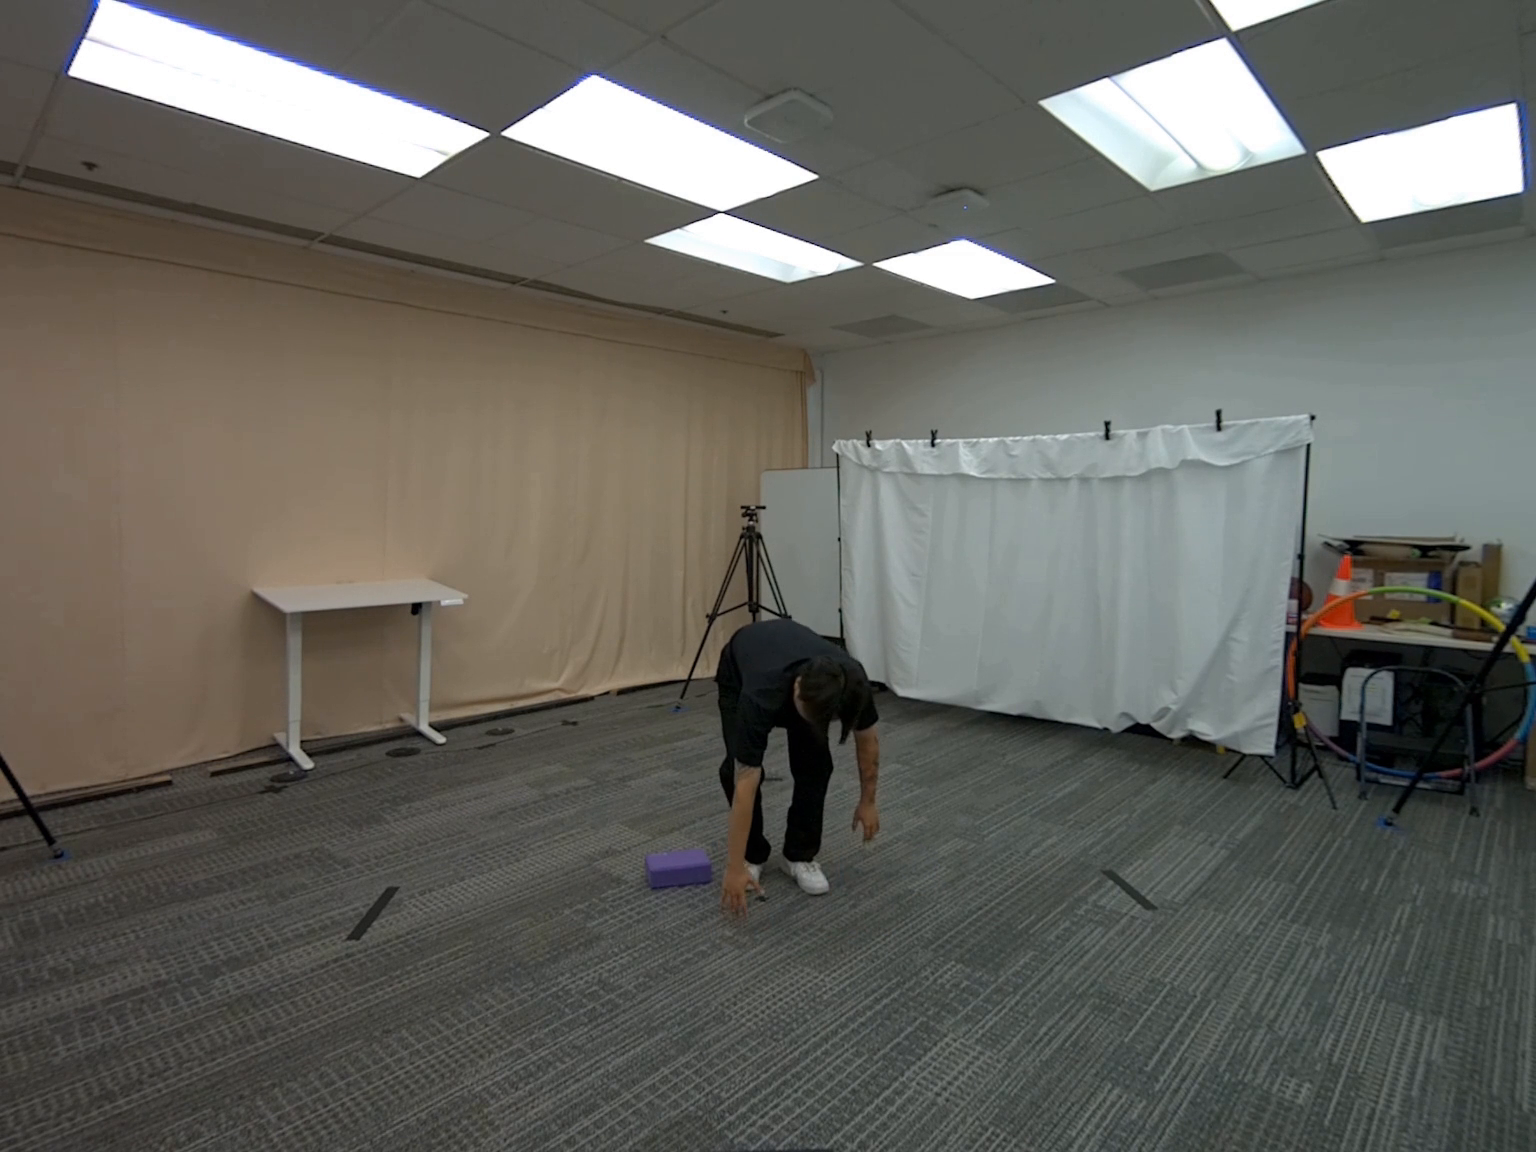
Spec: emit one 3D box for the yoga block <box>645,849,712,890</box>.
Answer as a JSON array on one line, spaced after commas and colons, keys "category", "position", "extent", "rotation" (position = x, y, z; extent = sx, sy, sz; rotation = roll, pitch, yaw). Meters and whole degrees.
[{"category": "yoga block", "position": [-0.335, 1.098, 3.154], "extent": [0.226, 0.076, 0.151], "rotation": [-1, 6, -14]}]
